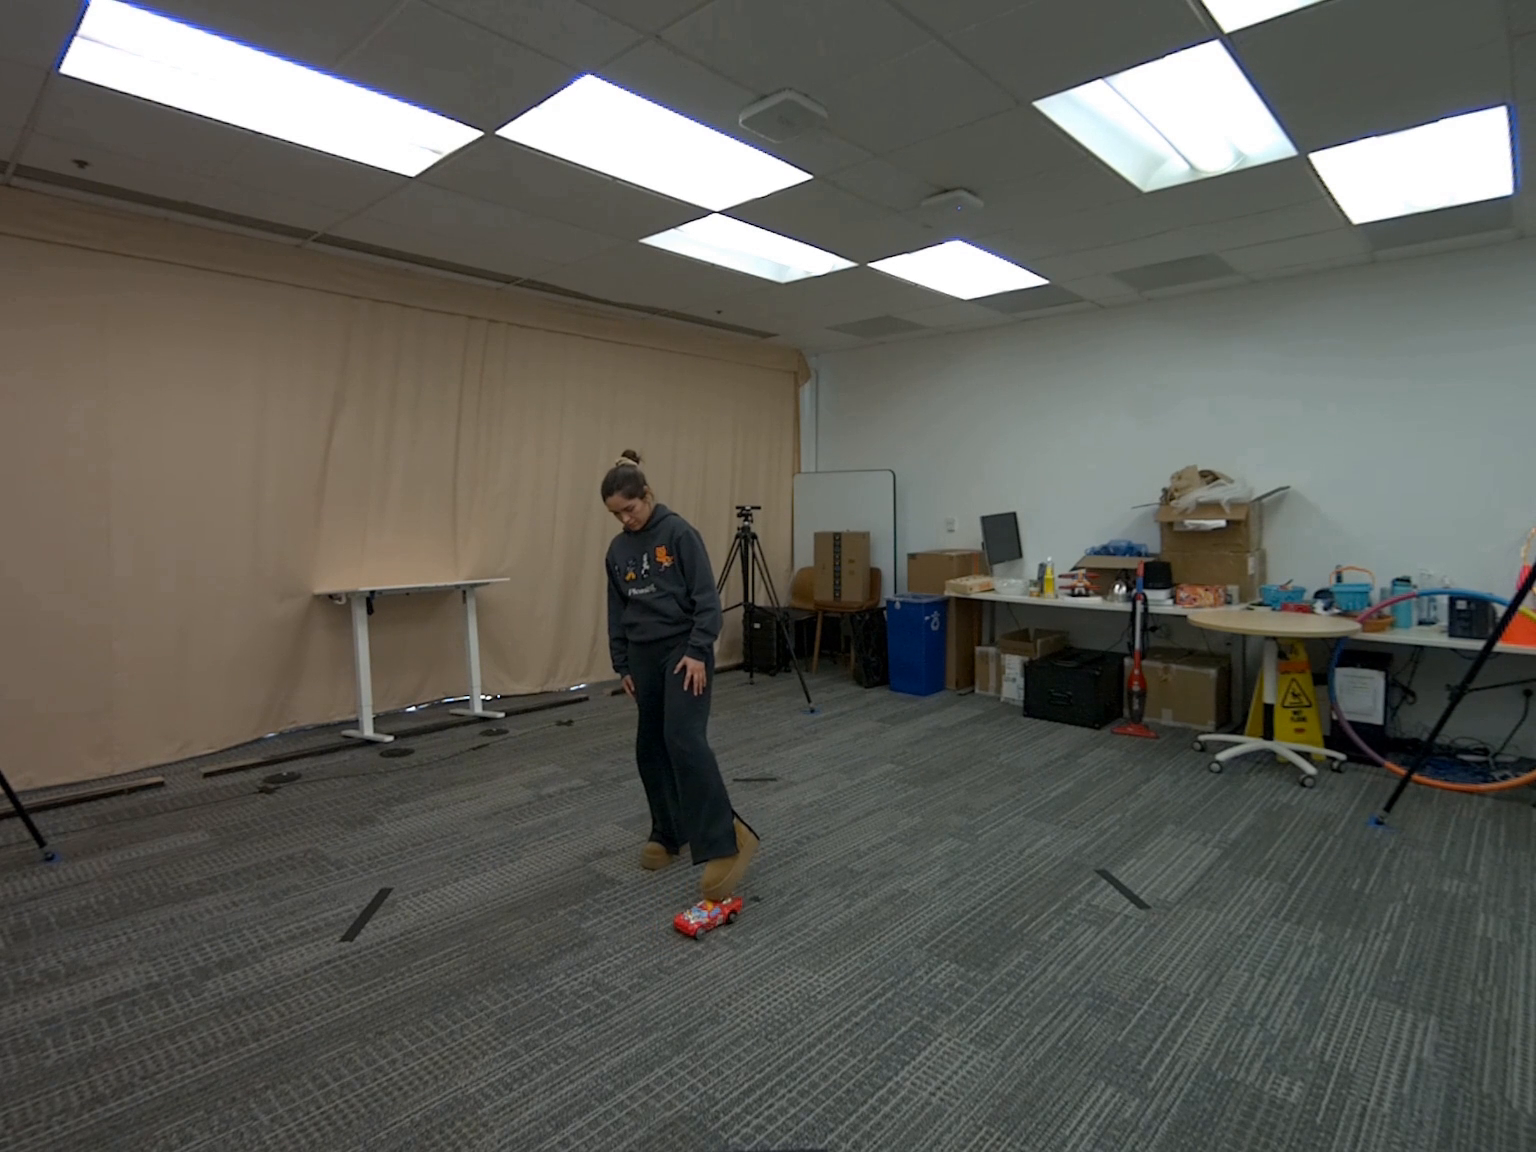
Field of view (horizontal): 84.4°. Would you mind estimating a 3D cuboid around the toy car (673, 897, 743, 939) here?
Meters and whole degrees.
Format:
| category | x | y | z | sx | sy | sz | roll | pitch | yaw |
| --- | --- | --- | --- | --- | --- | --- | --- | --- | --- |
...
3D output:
| category | x | y | z | sx | sy | sz | roll | pitch | yaw |
| --- | --- | --- | --- | --- | --- | --- | --- | --- | --- |
| toy car | -0.173 | 1.129 | 2.804 | 0.134 | 0.082 | 0.248 | 3 | 16 | 44 |
